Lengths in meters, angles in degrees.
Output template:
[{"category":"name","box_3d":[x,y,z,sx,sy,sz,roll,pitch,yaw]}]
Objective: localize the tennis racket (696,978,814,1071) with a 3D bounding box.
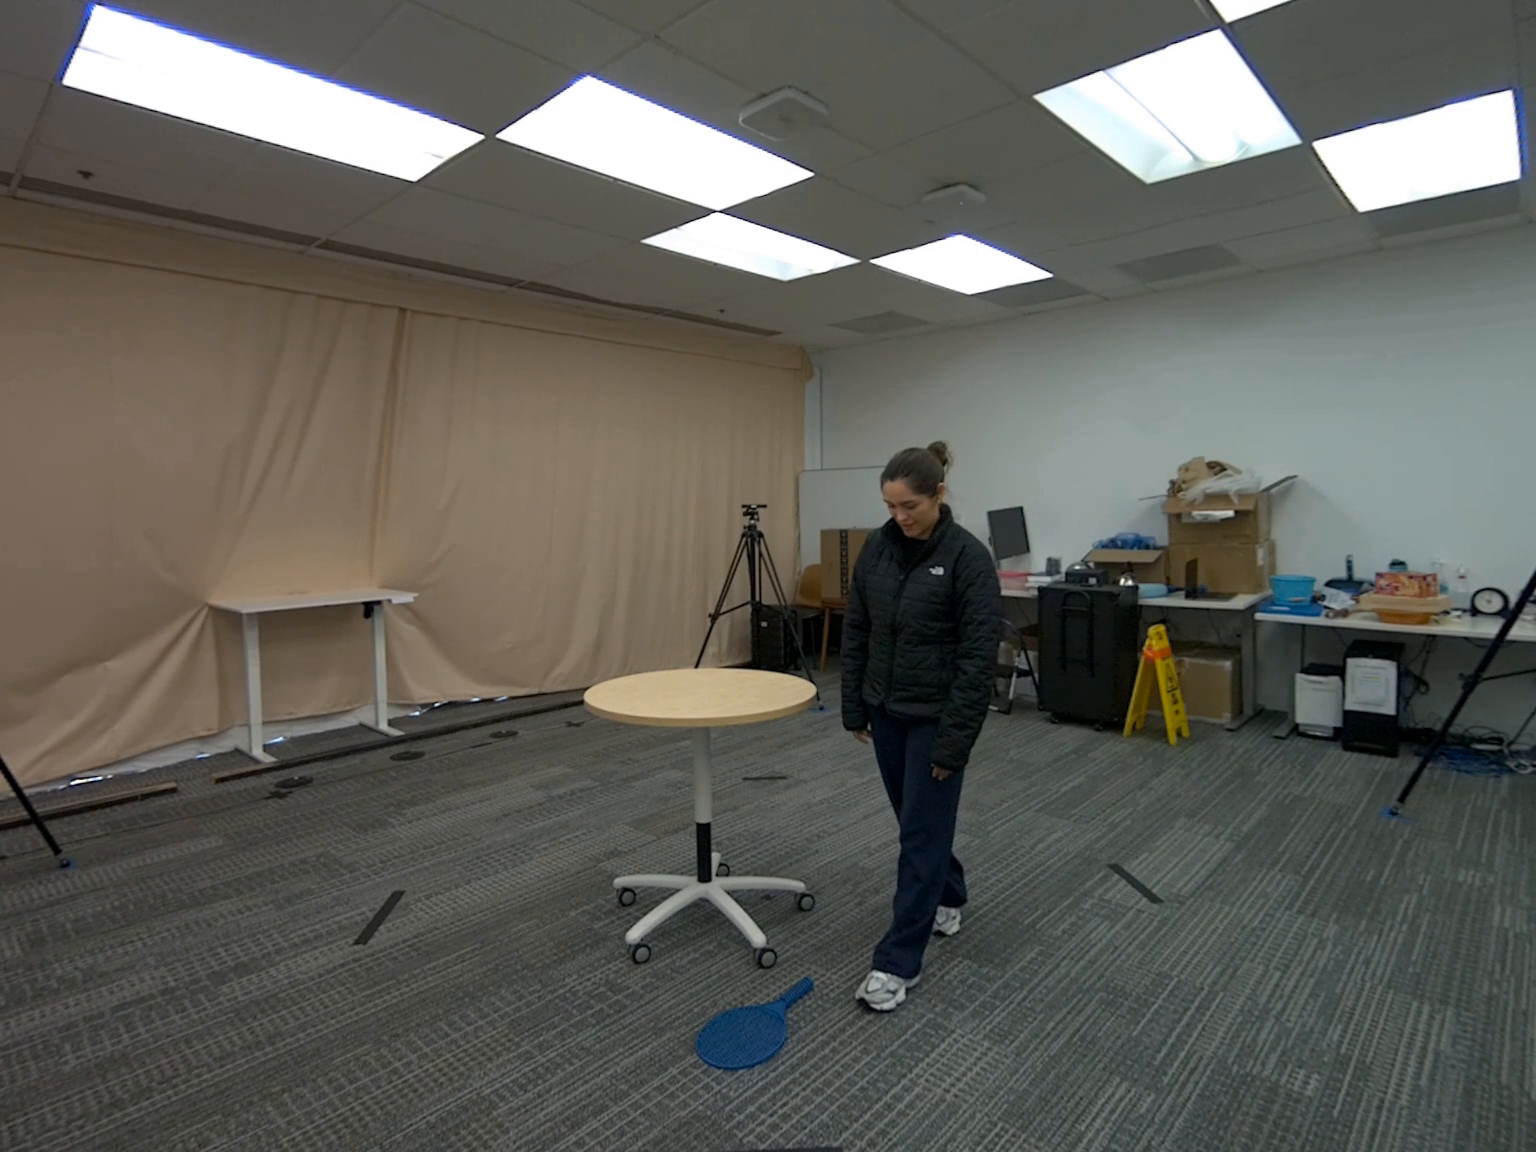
[{"category":"tennis racket","box_3d":[0.004,1.187,2.262,0.221,0.031,0.420,3,8,41]}]
